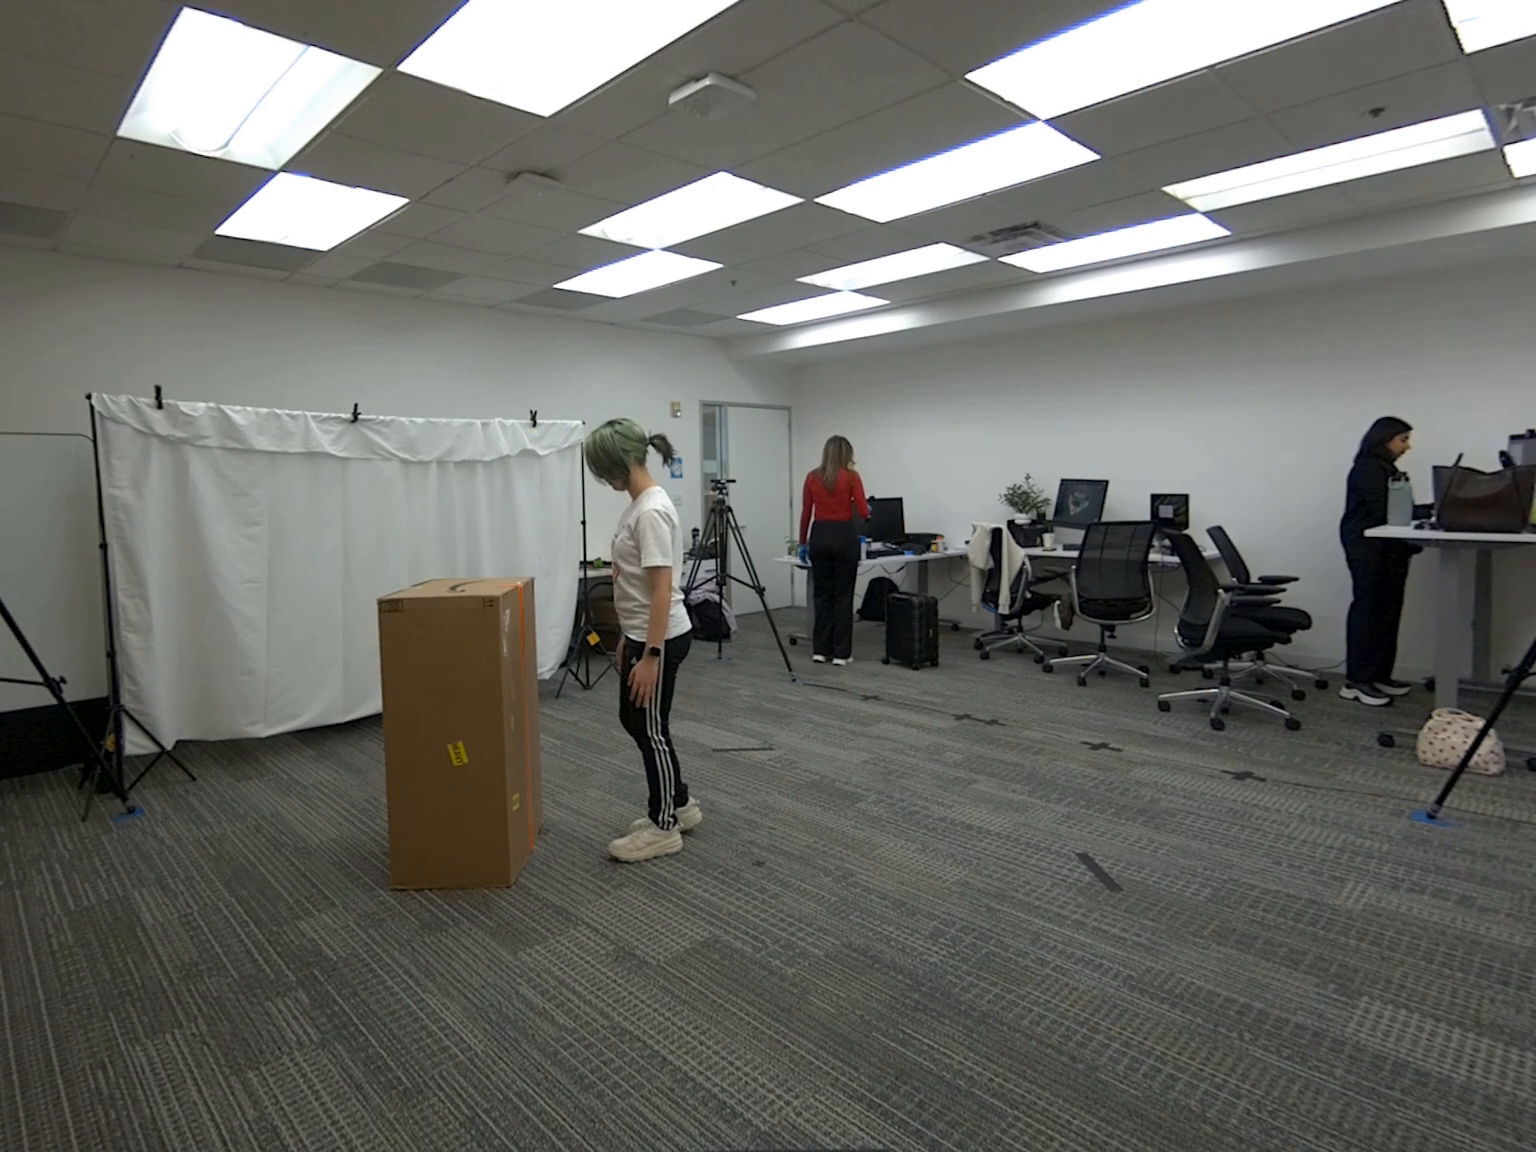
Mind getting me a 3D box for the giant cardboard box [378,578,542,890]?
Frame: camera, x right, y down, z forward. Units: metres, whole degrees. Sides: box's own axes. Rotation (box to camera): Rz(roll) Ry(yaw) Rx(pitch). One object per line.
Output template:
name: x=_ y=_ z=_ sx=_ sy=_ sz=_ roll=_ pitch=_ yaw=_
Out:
giant cardboard box: x=-1.128 y=0.551 z=3.224 sx=0.446 sy=1.024 sz=0.587 roll=-2 pitch=3 yaw=-3
